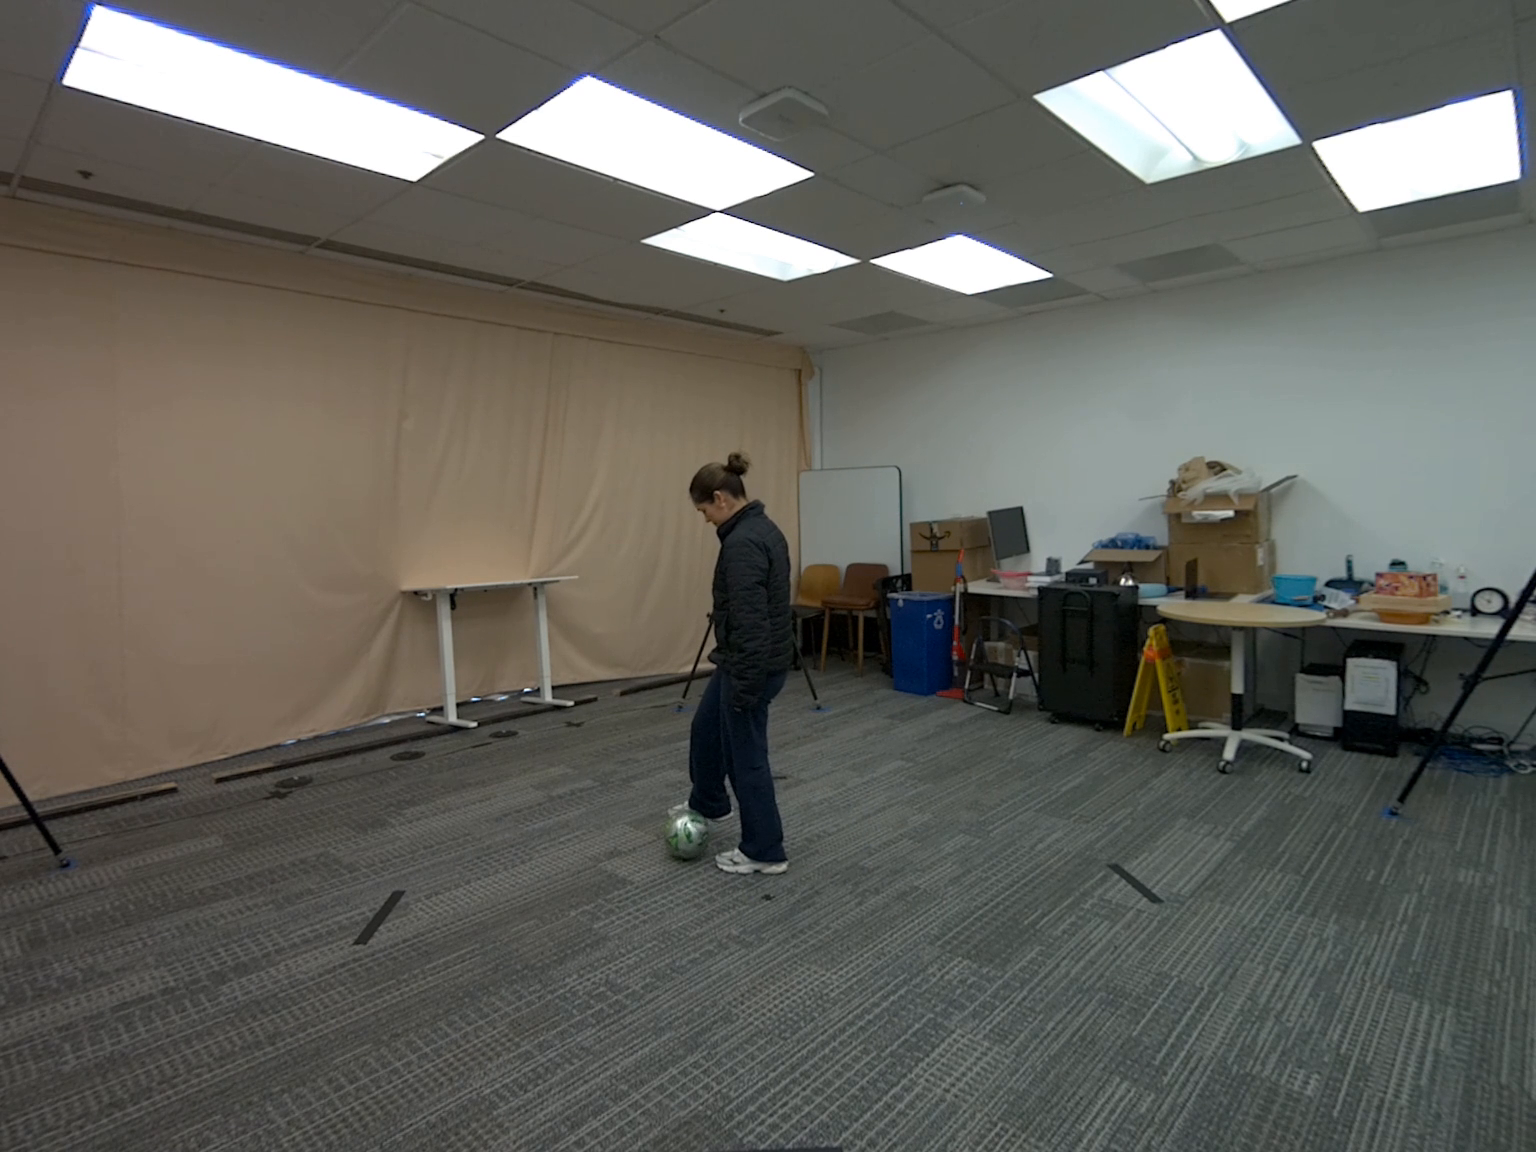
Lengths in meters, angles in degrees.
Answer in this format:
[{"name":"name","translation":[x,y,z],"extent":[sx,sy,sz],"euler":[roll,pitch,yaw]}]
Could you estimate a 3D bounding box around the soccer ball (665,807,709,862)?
[{"name":"soccer ball","translation":[-0.318,1.019,3.338],"extent":[0.187,0.187,0.188],"euler":[-1,4,-2]}]
